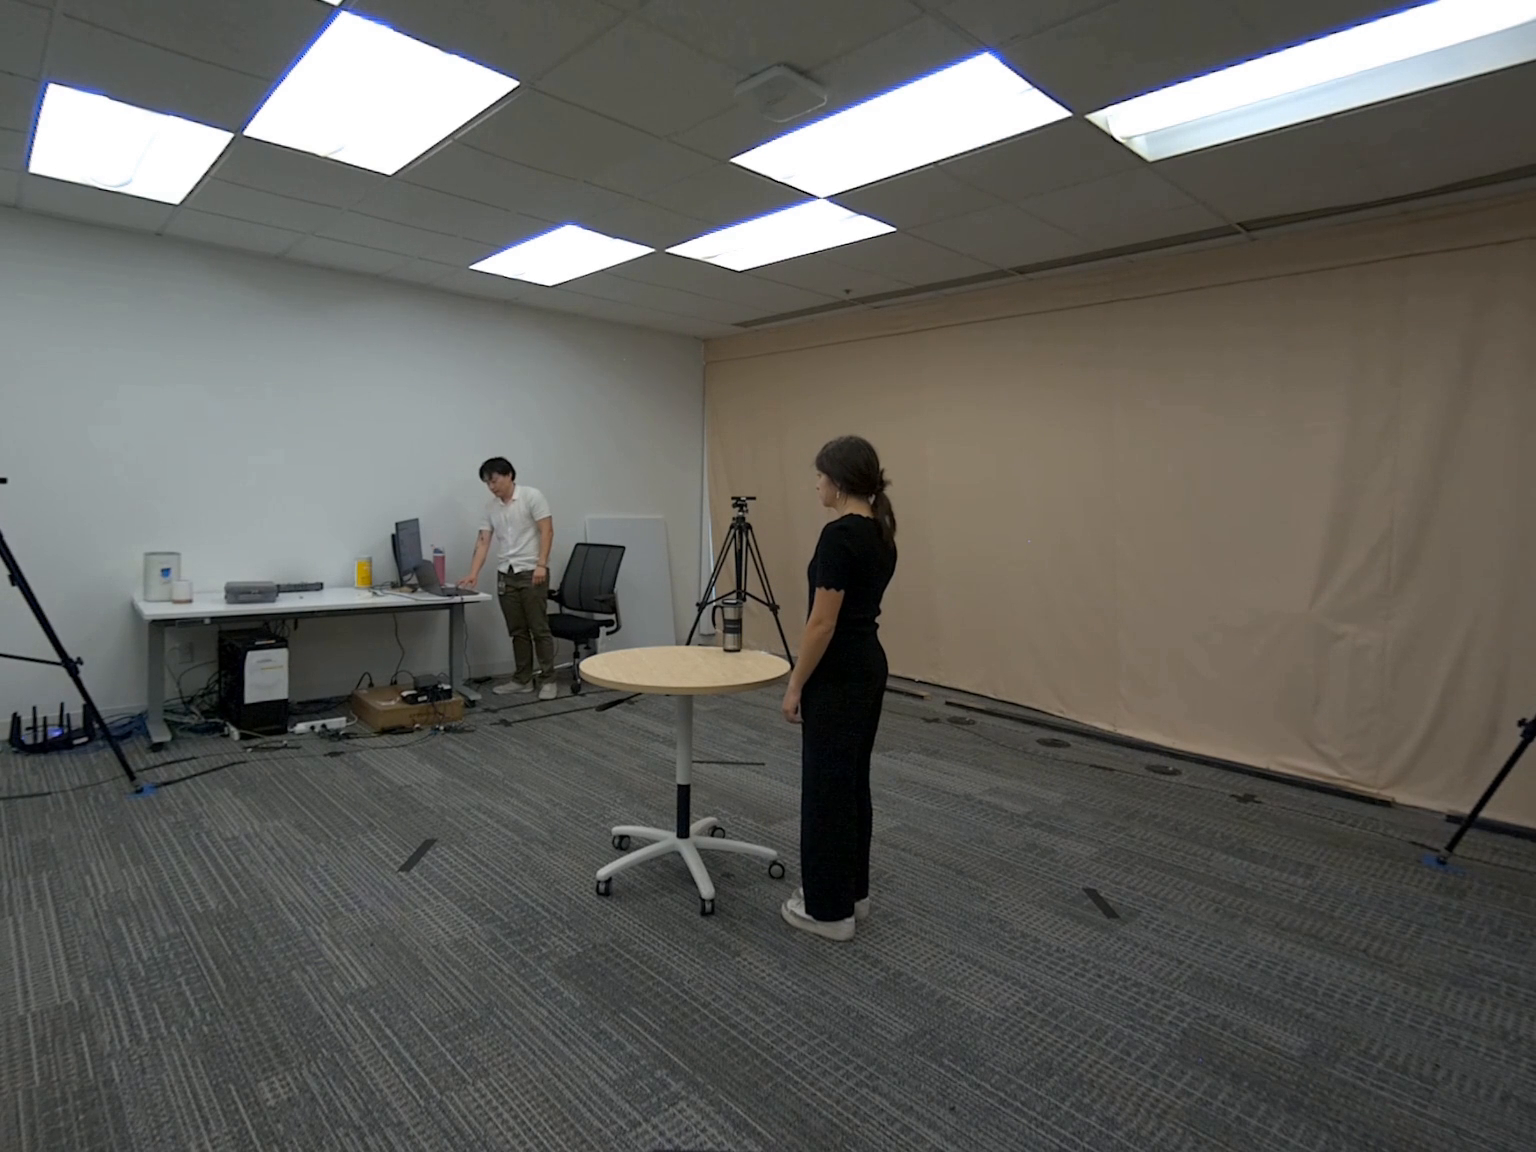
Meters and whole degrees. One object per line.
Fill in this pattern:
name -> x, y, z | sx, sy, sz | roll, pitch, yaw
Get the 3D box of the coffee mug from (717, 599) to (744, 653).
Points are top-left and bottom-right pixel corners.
coffee mug -> -0.168, 0.197, 3.352 | 0.125, 0.202, 0.086 | 7, 8, 33
